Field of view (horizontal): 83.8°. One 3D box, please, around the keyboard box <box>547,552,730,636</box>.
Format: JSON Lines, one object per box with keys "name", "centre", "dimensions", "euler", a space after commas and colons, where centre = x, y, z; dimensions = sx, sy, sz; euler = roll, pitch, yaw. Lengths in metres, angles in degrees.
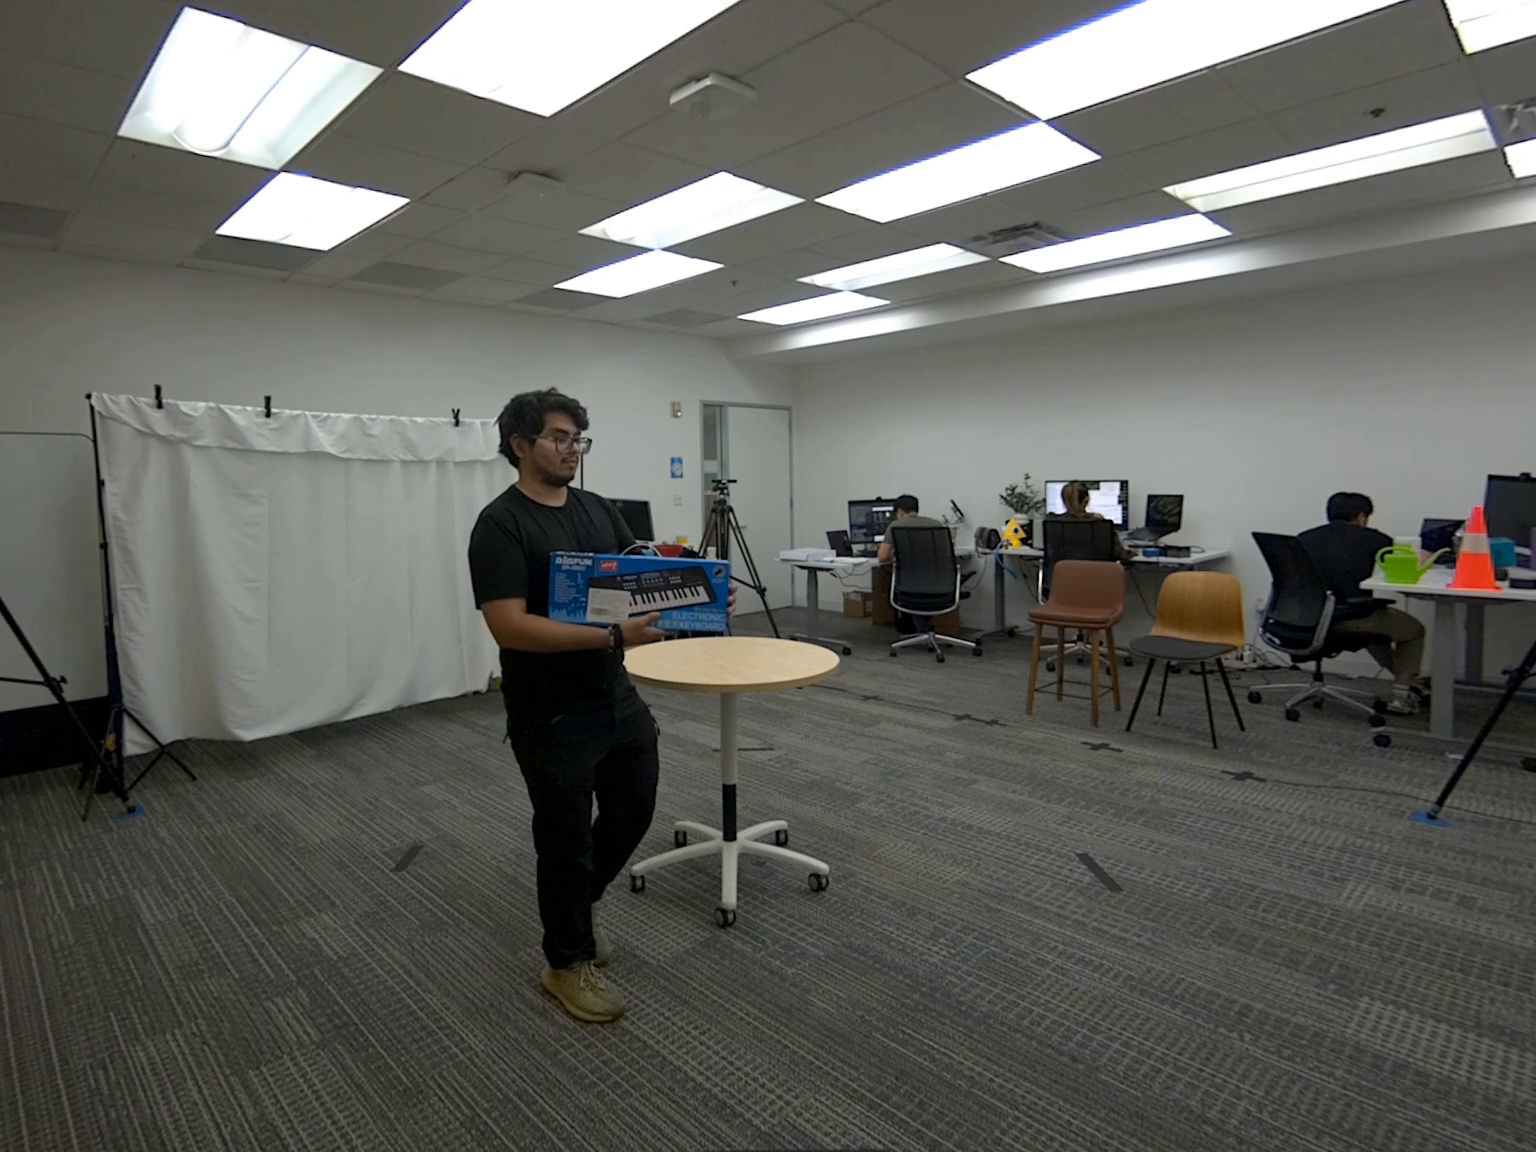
{"name": "keyboard box", "centre": [-0.325, 0.043, 2.108], "dimensions": [0.436, 0.175, 0.059], "euler": [3, 4, -2]}
